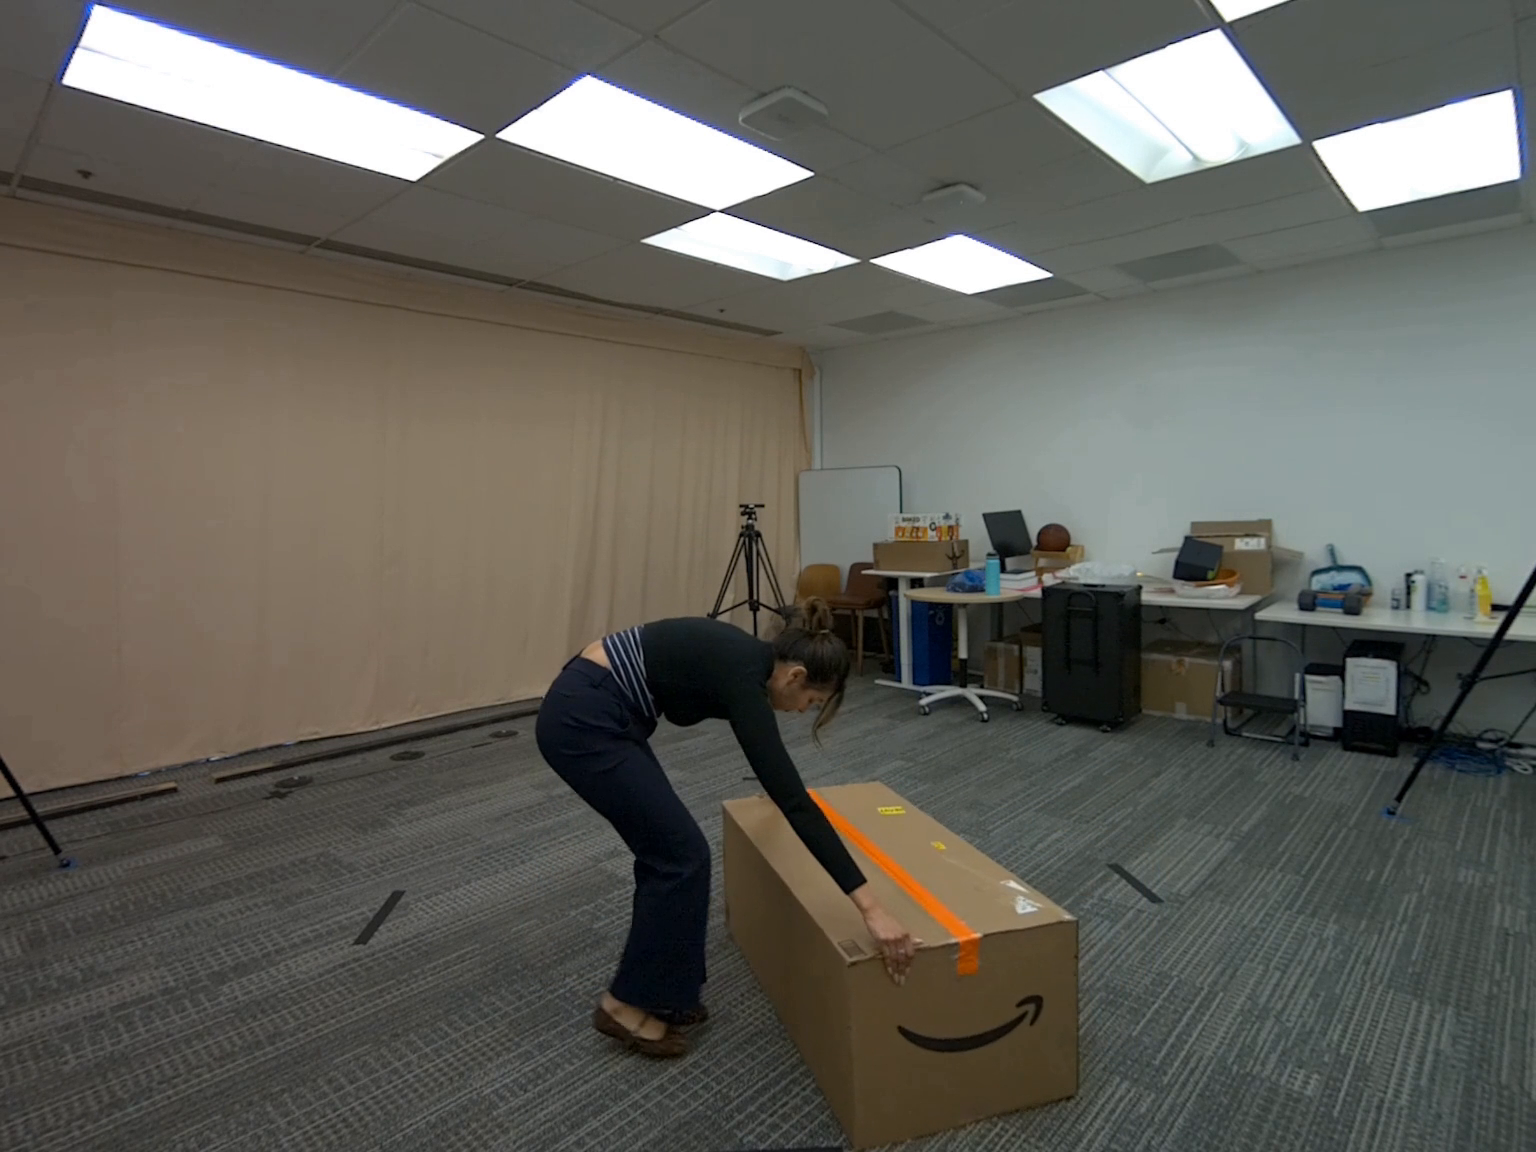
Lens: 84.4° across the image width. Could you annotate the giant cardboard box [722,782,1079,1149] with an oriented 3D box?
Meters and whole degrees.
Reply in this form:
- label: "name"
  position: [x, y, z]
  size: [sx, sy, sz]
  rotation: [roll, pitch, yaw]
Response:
- label: "giant cardboard box"
  position: [0.292, 0.971, 2.365]
  size: [0.567, 0.425, 1.047]
  rotation: [-3, 5, -18]
